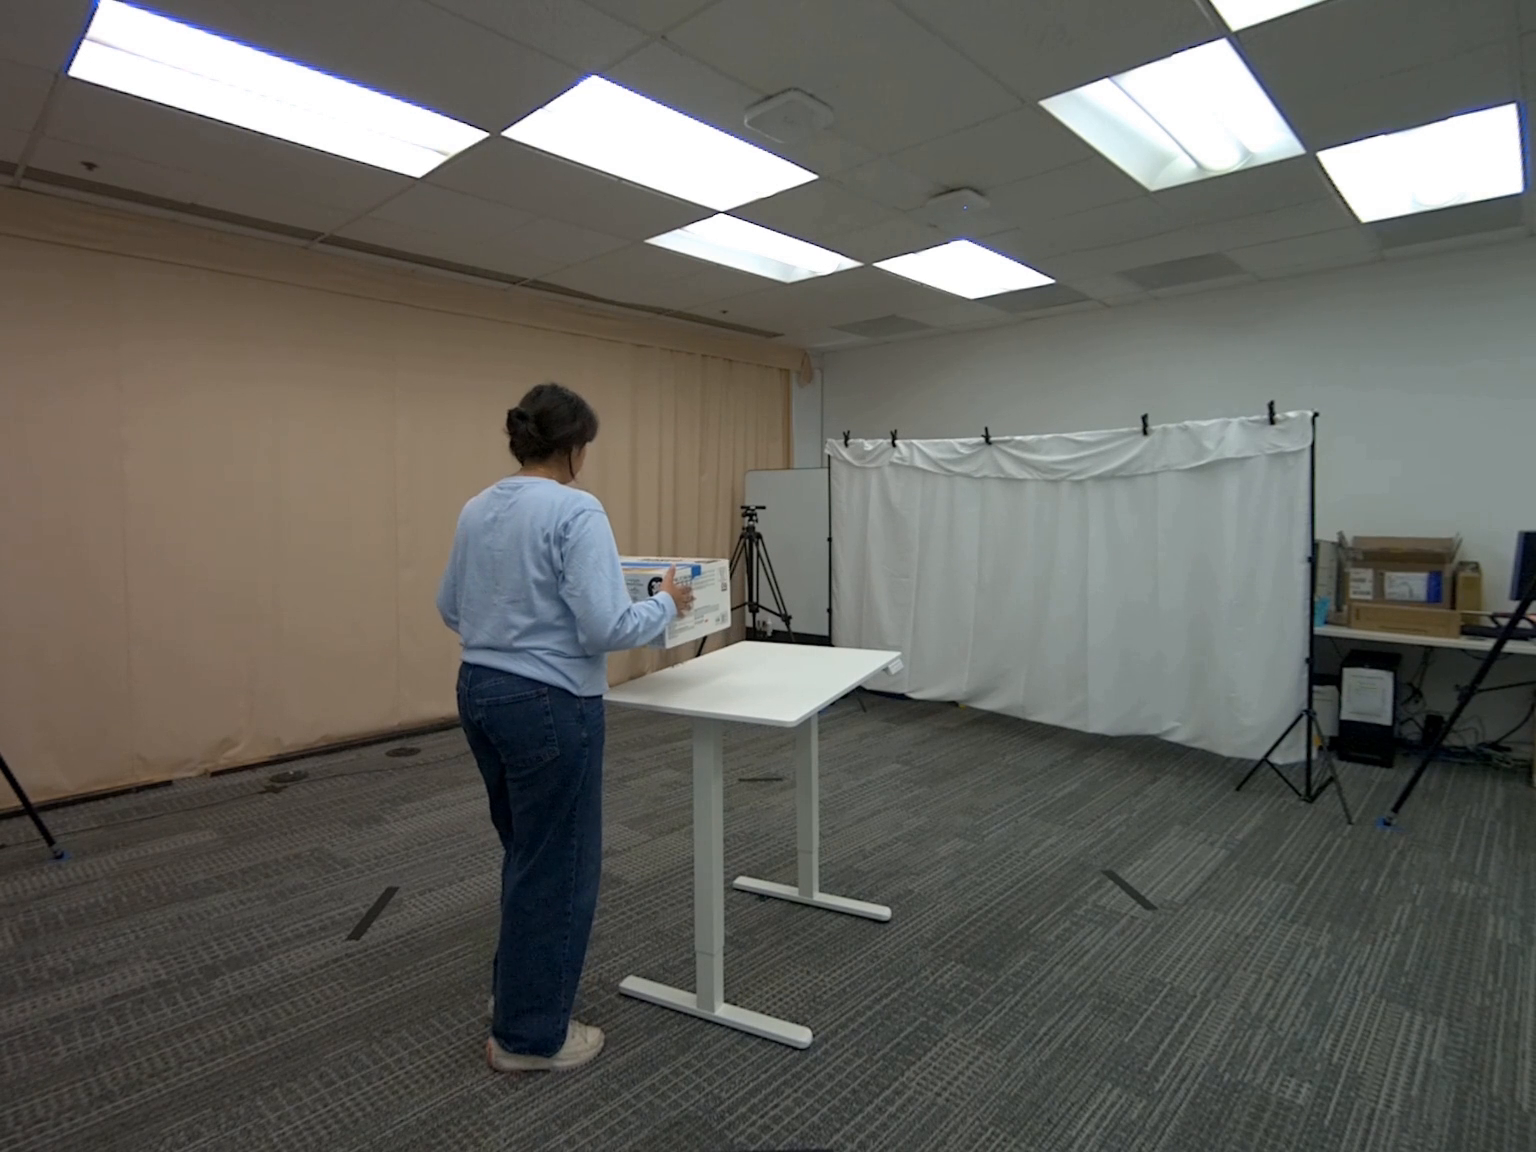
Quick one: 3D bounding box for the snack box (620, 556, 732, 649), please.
[{"bbox_3d":[-0.368,0.067,2.419,0.417,0.205,0.332,2,8,29],"label":"snack box"}]
